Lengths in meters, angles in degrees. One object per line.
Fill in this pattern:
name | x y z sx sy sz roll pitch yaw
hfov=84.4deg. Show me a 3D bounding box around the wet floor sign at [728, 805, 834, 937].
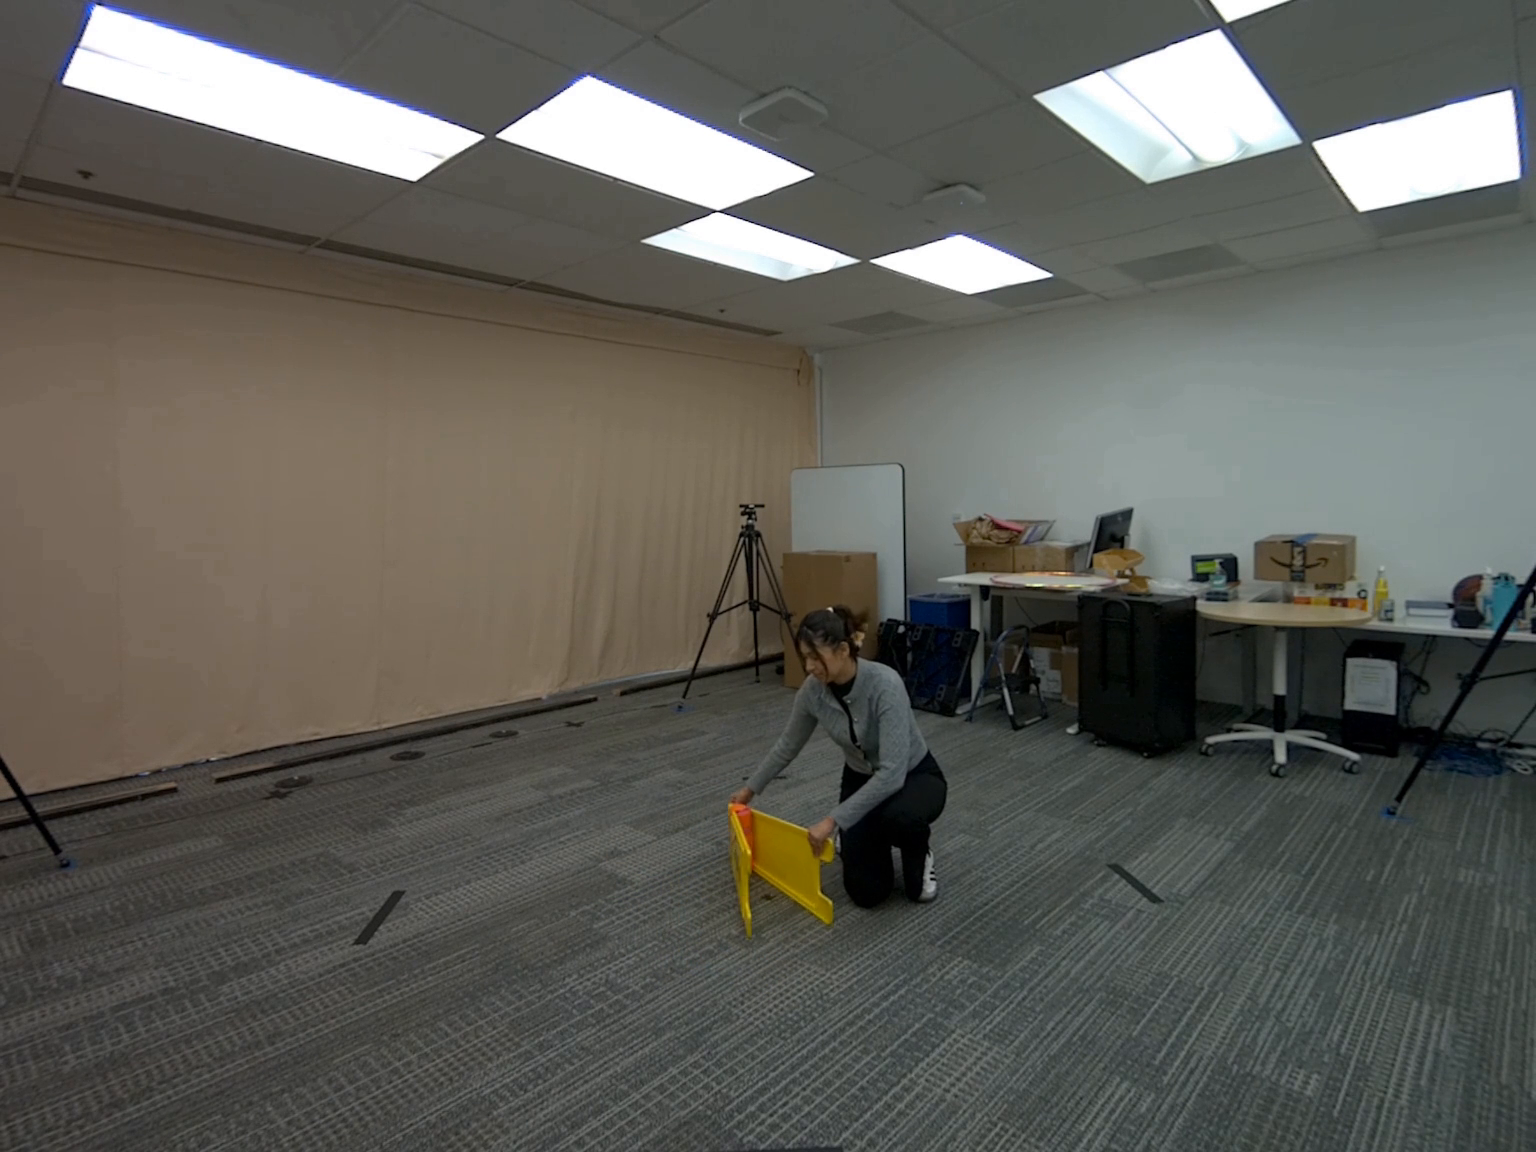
wet floor sign | -0.030 1.011 3.043 0.284 0.282 0.658 -1 1 -20
